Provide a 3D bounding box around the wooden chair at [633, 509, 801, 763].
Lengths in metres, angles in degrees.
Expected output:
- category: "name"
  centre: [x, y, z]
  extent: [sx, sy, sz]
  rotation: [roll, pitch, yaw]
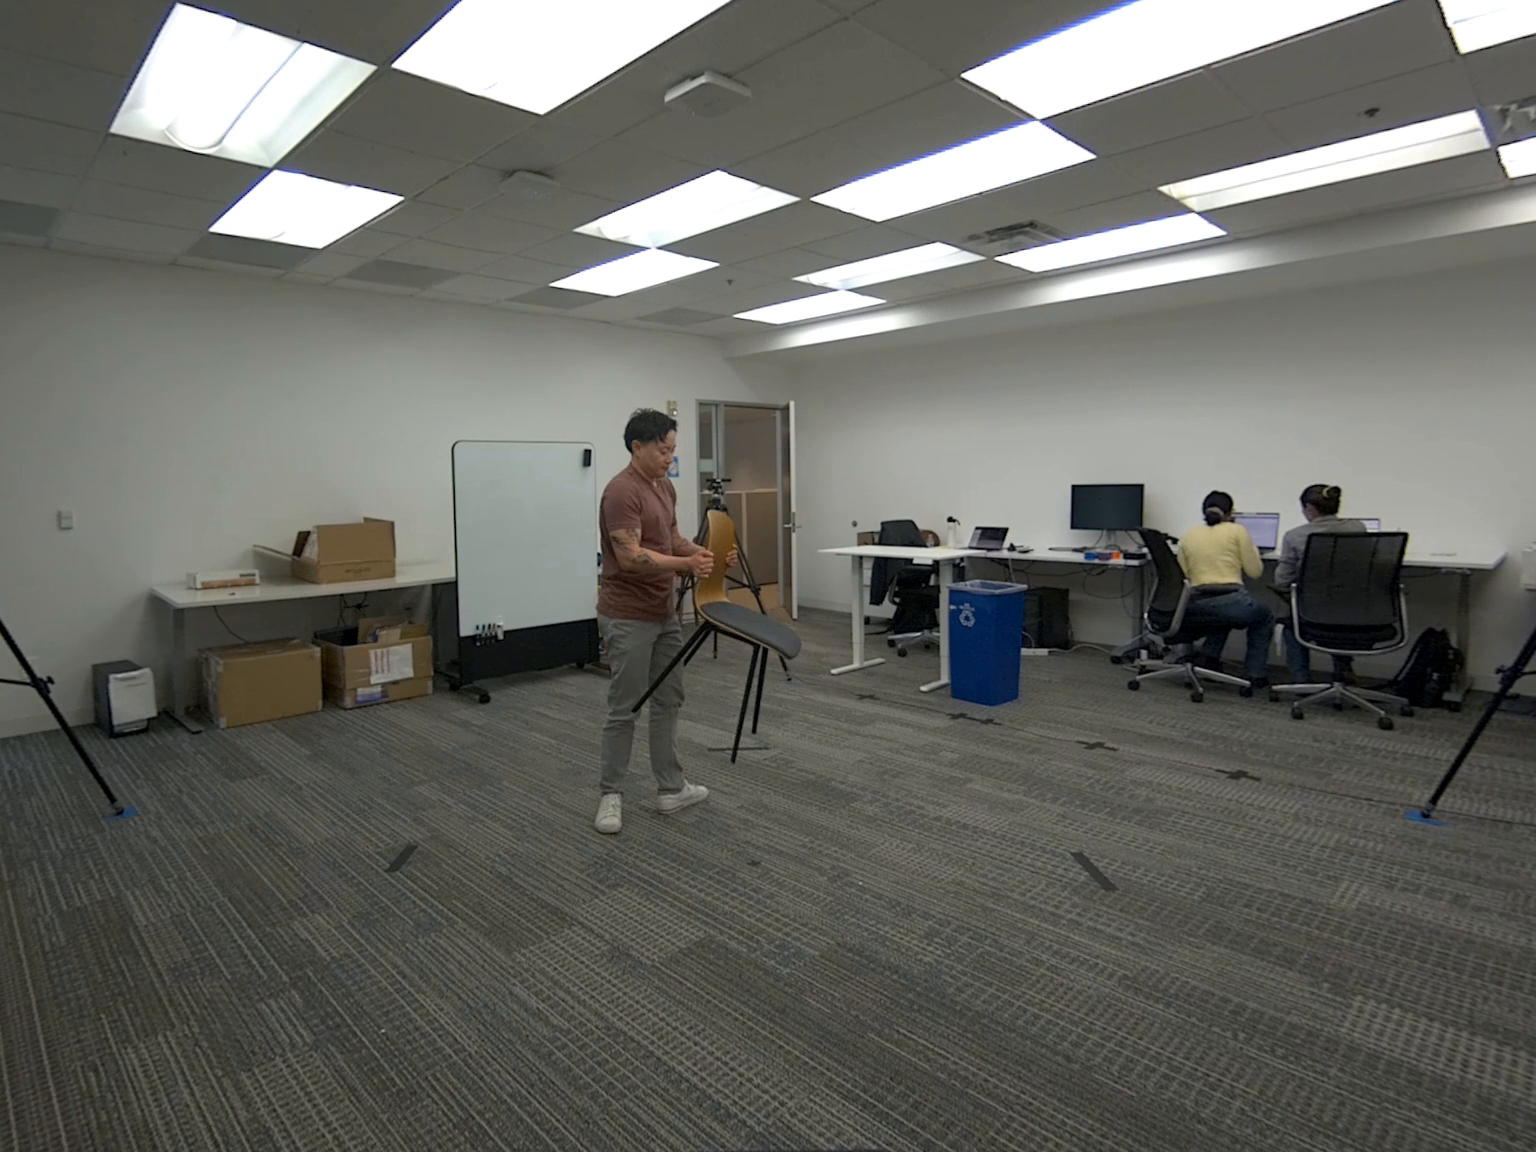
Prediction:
- category: "wooden chair"
  centre: [-0.125, 0.229, 3.484]
  extent: [0.531, 0.875, 0.473]
  rotation: [19, 5, 11]
